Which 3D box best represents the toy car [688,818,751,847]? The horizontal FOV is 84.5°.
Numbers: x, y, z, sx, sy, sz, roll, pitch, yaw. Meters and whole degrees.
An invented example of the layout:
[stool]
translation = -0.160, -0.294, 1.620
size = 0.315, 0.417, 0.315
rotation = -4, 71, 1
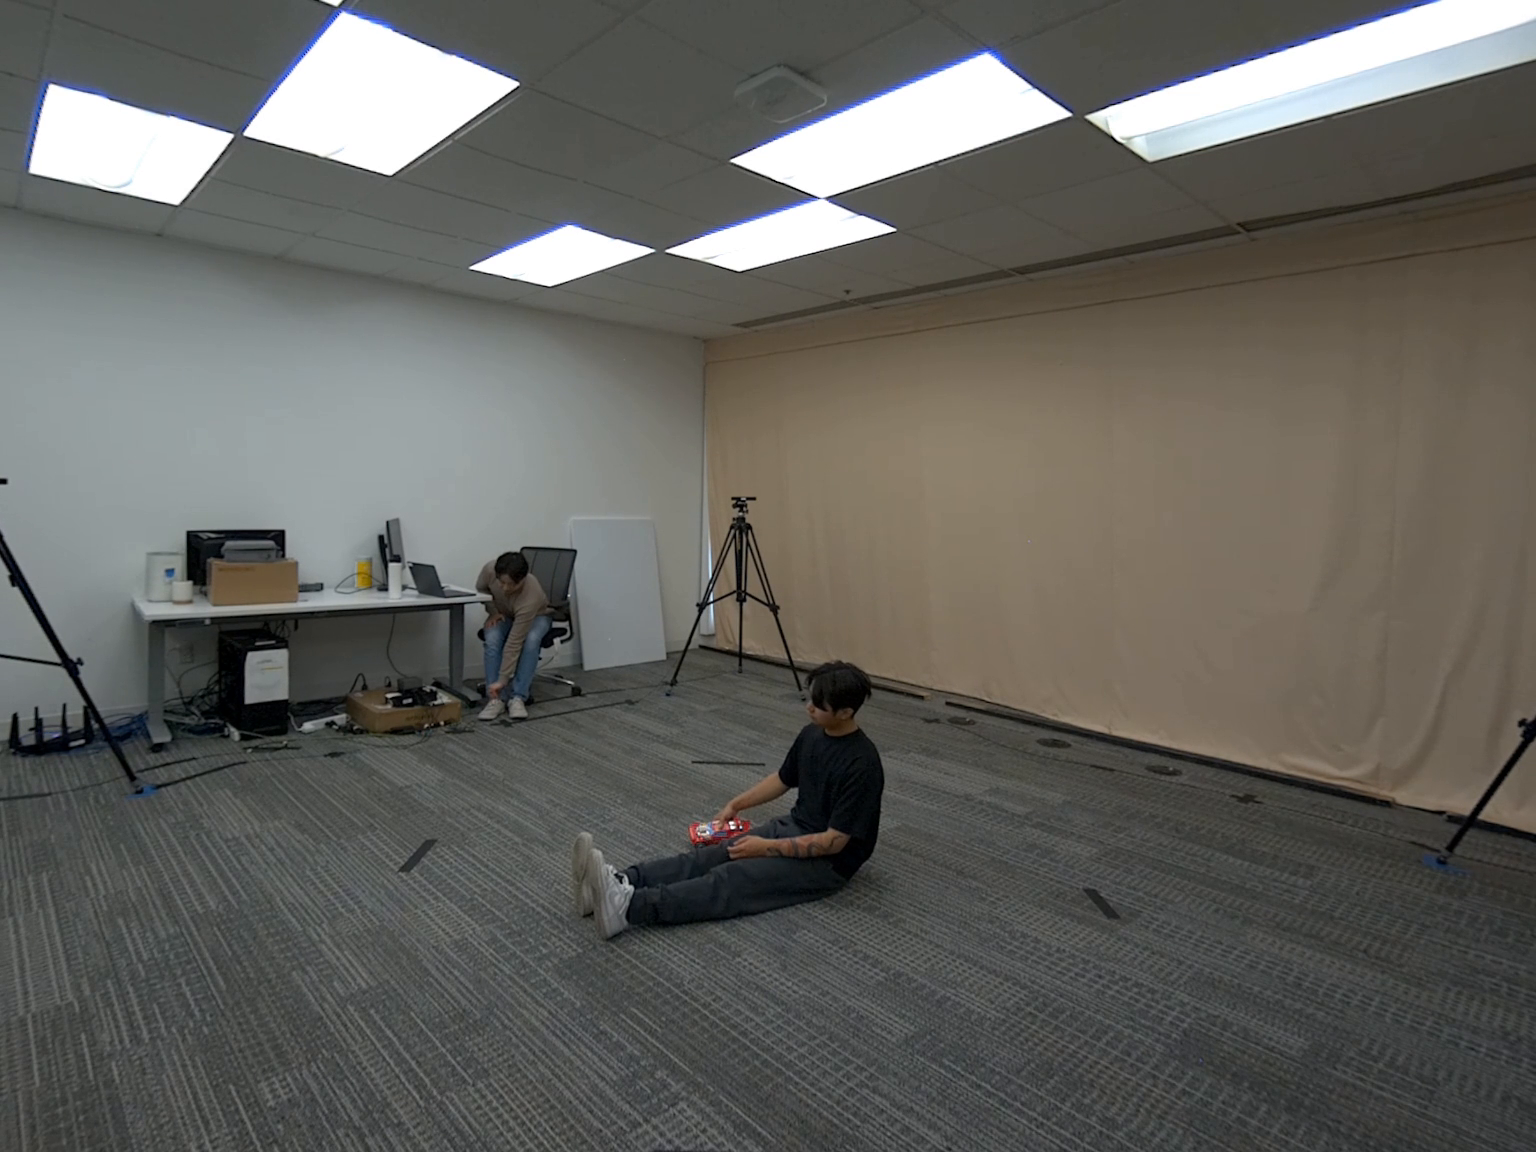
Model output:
[toy car]
translation = -0.199, 1.024, 3.385
size = 0.253, 0.082, 0.133
rotation = -9, 22, -6
